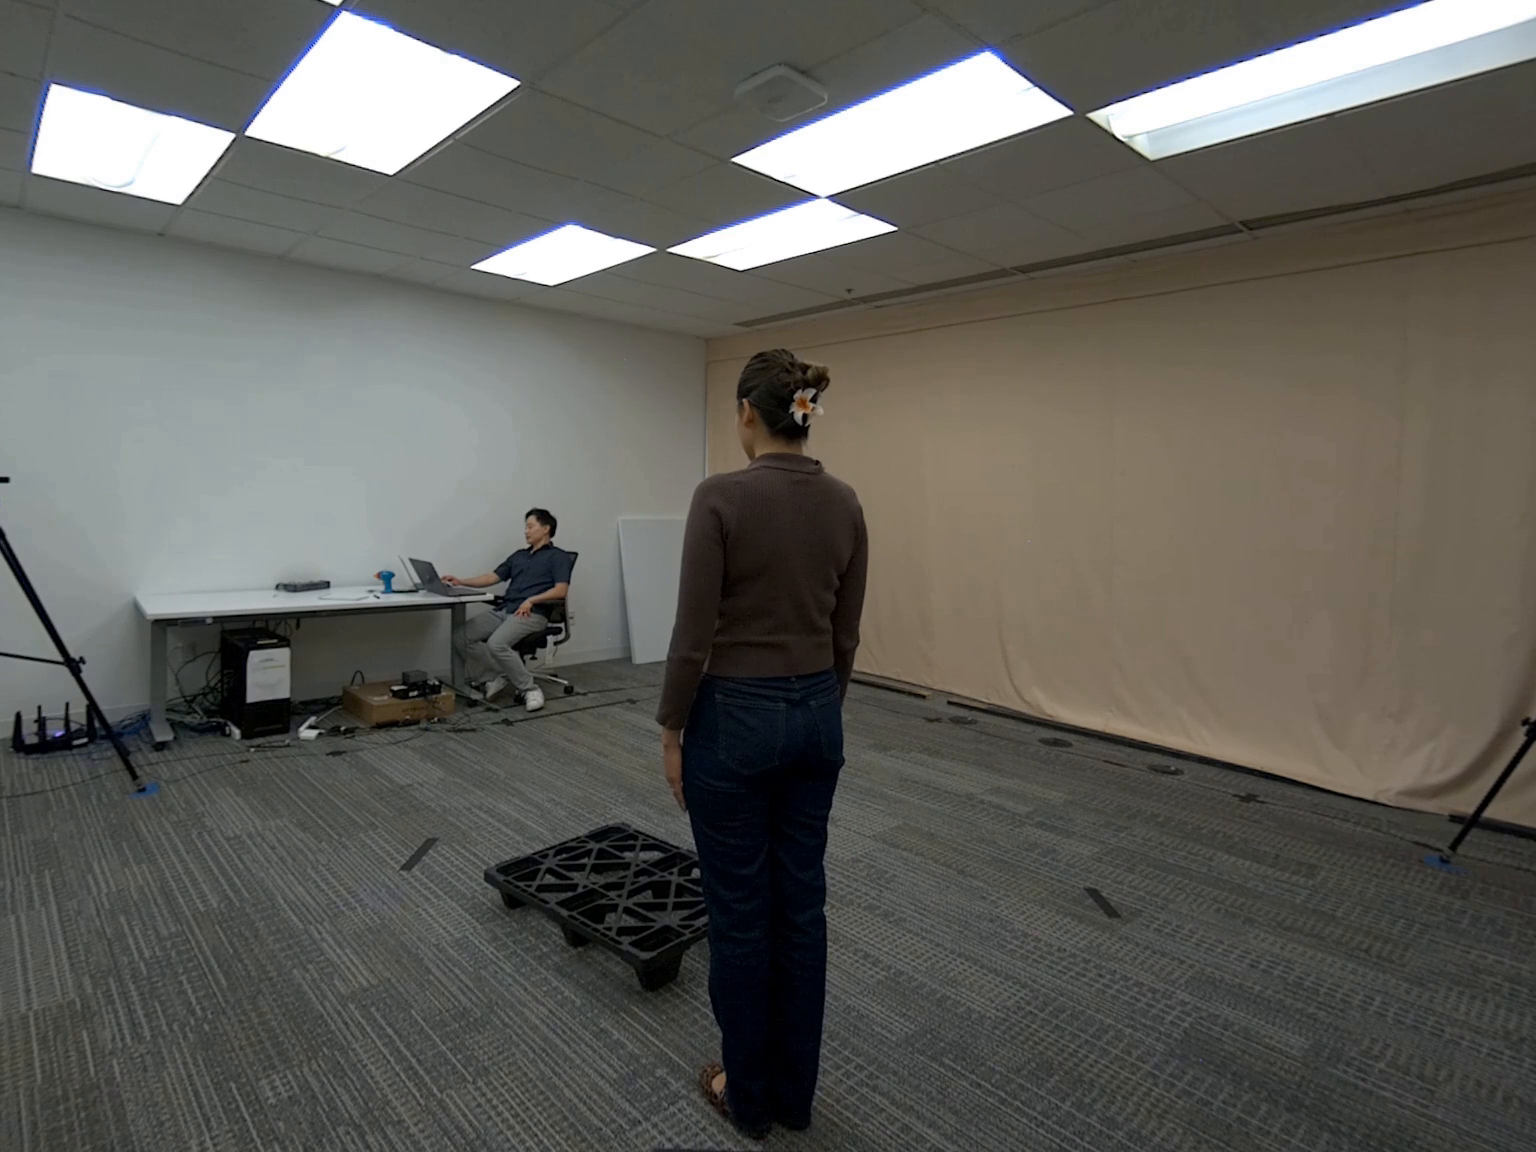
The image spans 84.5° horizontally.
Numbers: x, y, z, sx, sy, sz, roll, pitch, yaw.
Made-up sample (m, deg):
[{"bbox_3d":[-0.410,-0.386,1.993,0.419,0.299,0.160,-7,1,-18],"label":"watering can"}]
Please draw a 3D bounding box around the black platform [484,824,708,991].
[{"bbox_3d":[-0.462,1.062,2.760,0.826,0.143,0.592,6,8,40],"label":"black platform"}]
